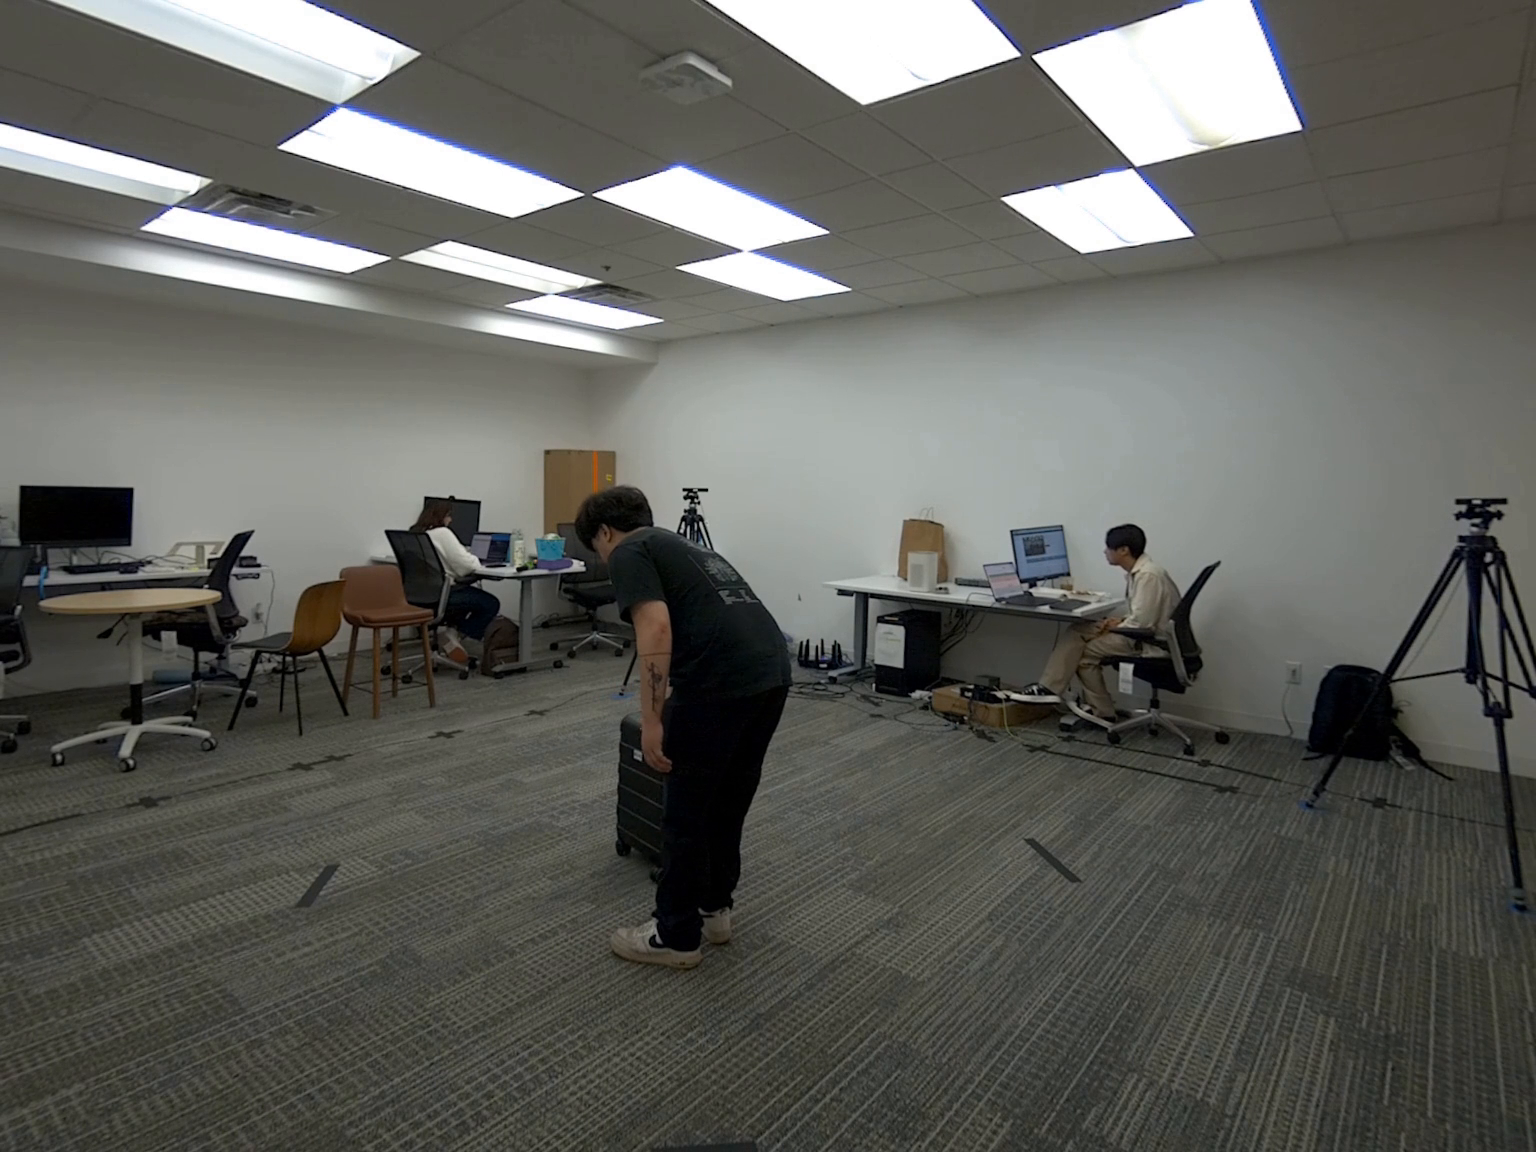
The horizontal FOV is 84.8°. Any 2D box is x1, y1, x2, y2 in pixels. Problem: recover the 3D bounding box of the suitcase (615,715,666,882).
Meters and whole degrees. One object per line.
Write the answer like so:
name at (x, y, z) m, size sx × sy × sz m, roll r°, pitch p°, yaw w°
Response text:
suitcase at (-0.391, 0.782, 3.178) m, size 0.240 × 0.549 × 0.388 m, roll 0°, pitch 2°, yaw -42°
